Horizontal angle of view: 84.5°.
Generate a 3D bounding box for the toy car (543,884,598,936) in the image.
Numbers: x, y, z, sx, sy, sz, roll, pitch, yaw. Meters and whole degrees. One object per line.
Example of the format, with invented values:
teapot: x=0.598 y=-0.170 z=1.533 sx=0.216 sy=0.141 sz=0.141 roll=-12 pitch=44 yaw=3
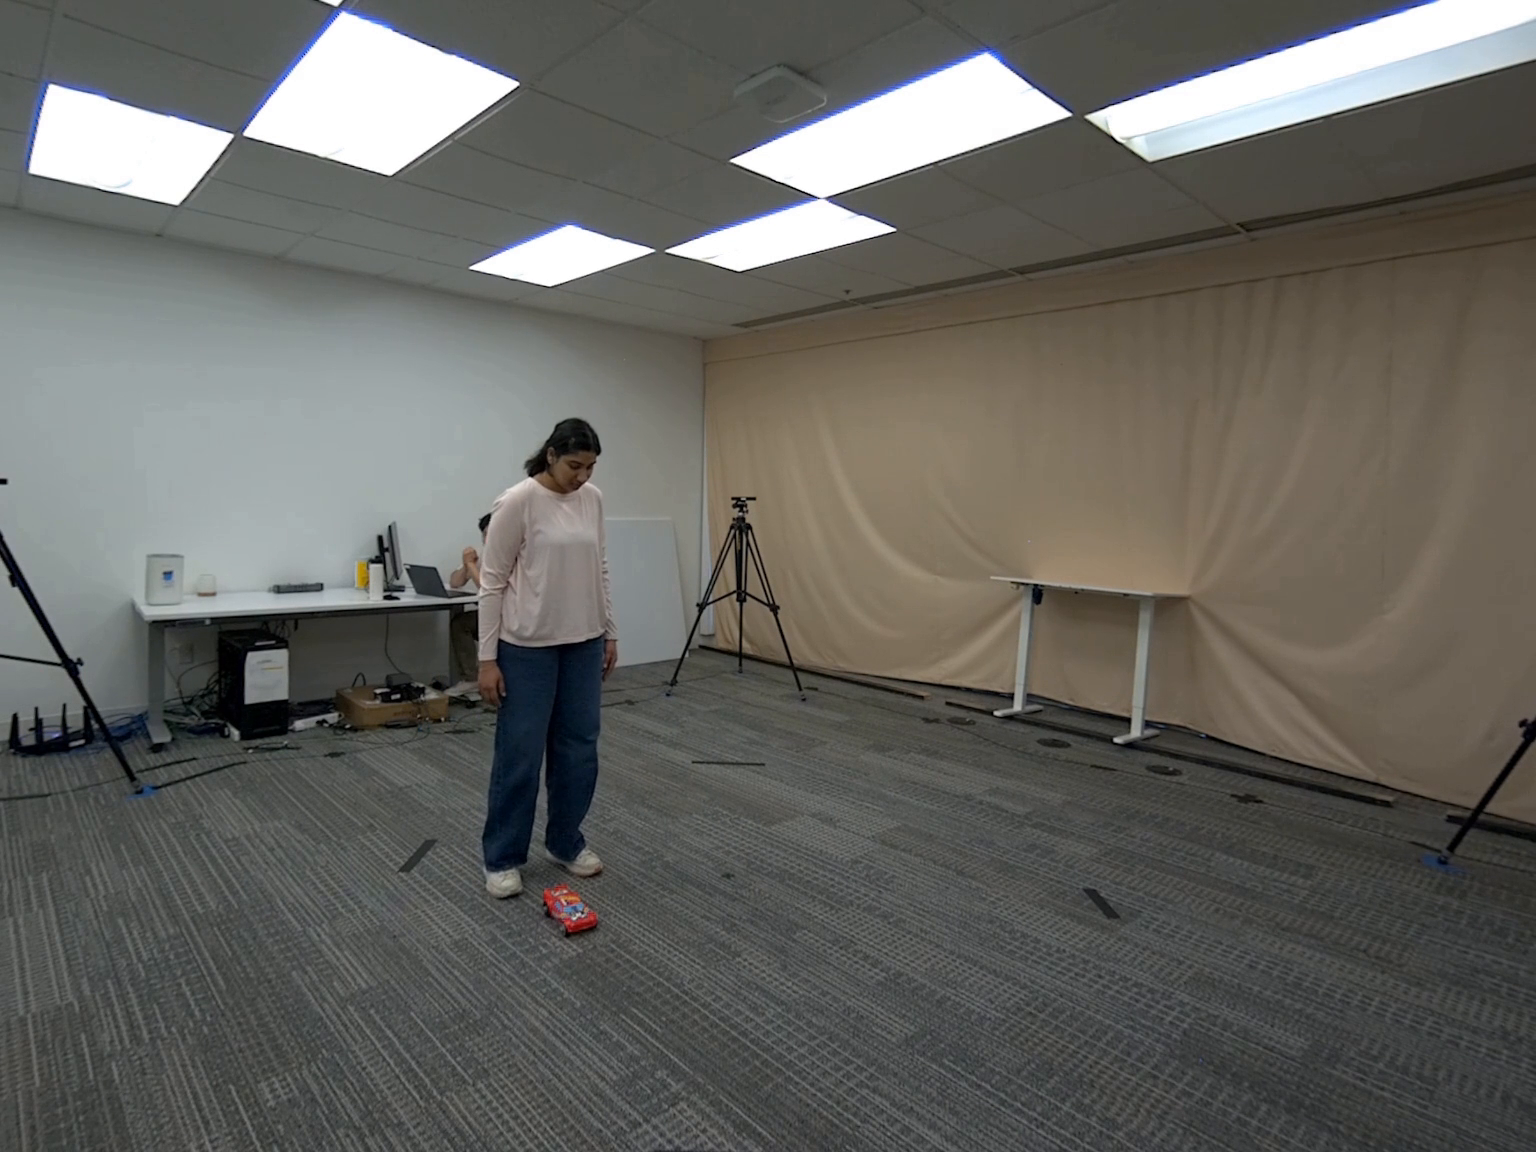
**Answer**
toy car: x=-0.665 y=1.098 z=2.756 sx=0.127 sy=0.082 sz=0.262 roll=-3 pitch=17 yaw=-34
